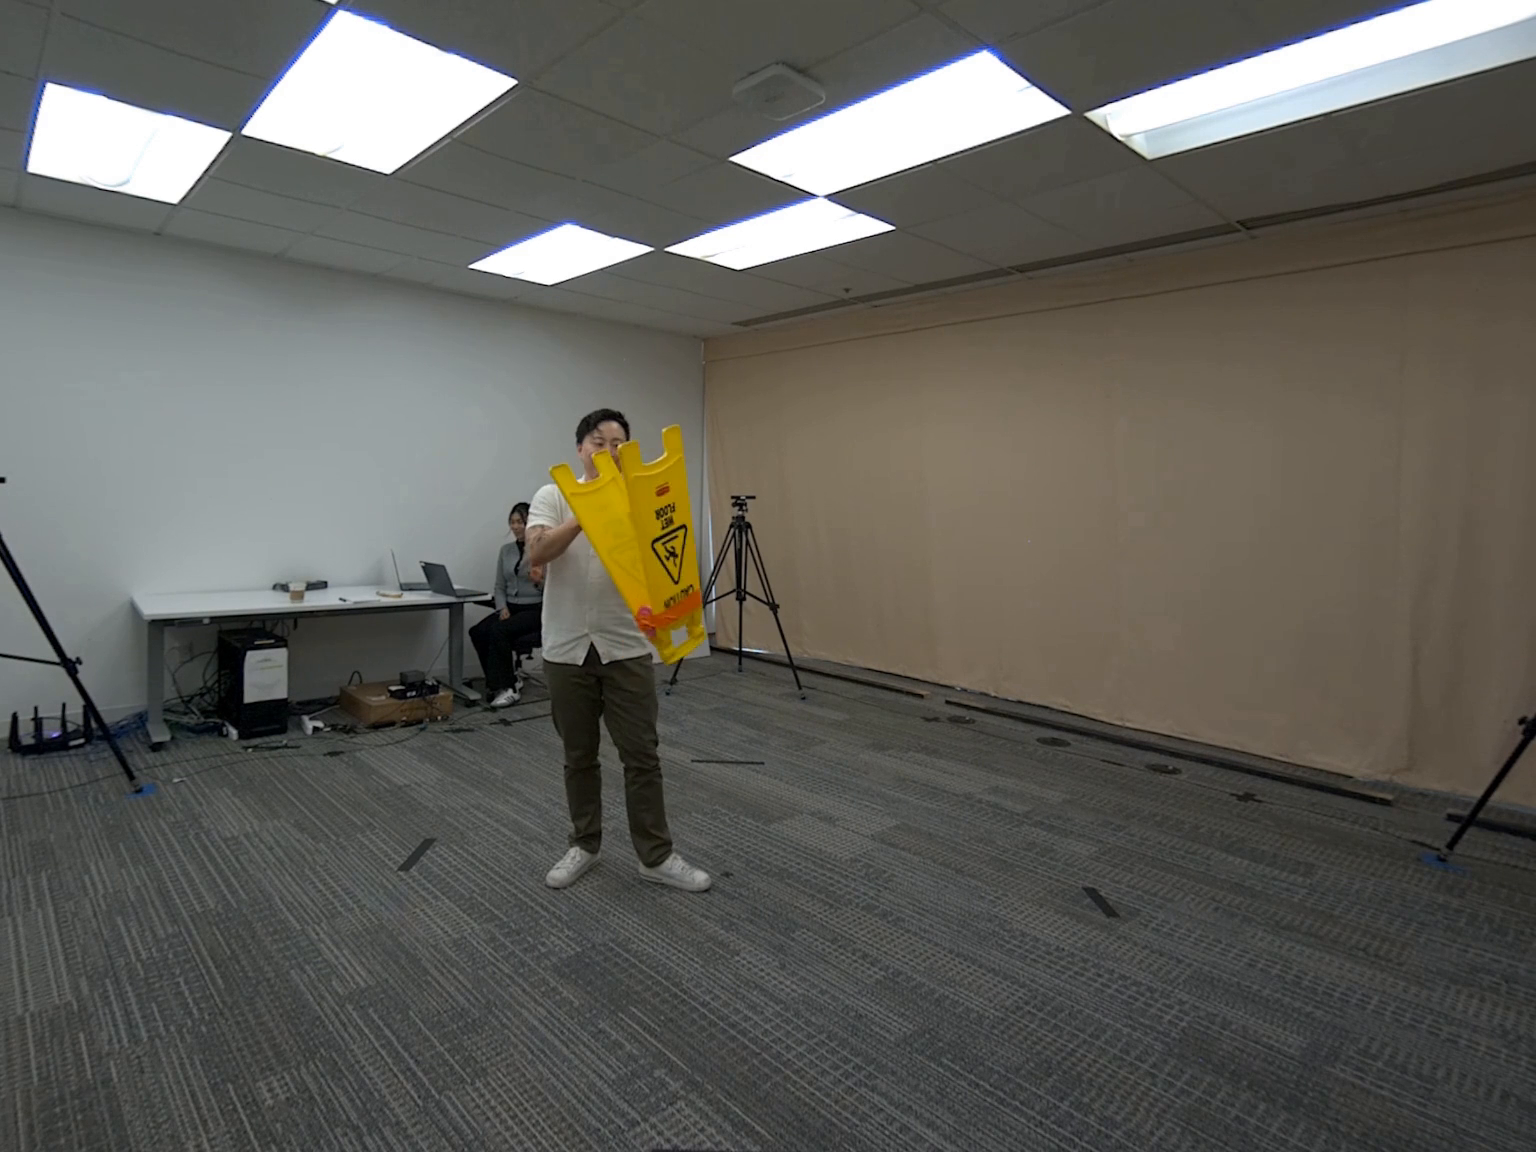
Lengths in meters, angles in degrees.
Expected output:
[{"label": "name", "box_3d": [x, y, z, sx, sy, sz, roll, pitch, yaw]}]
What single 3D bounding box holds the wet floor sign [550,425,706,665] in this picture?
[{"label": "wet floor sign", "box_3d": [-0.345, -0.067, 2.452, 0.295, 0.640, 0.280, -12, 12, 35]}]
